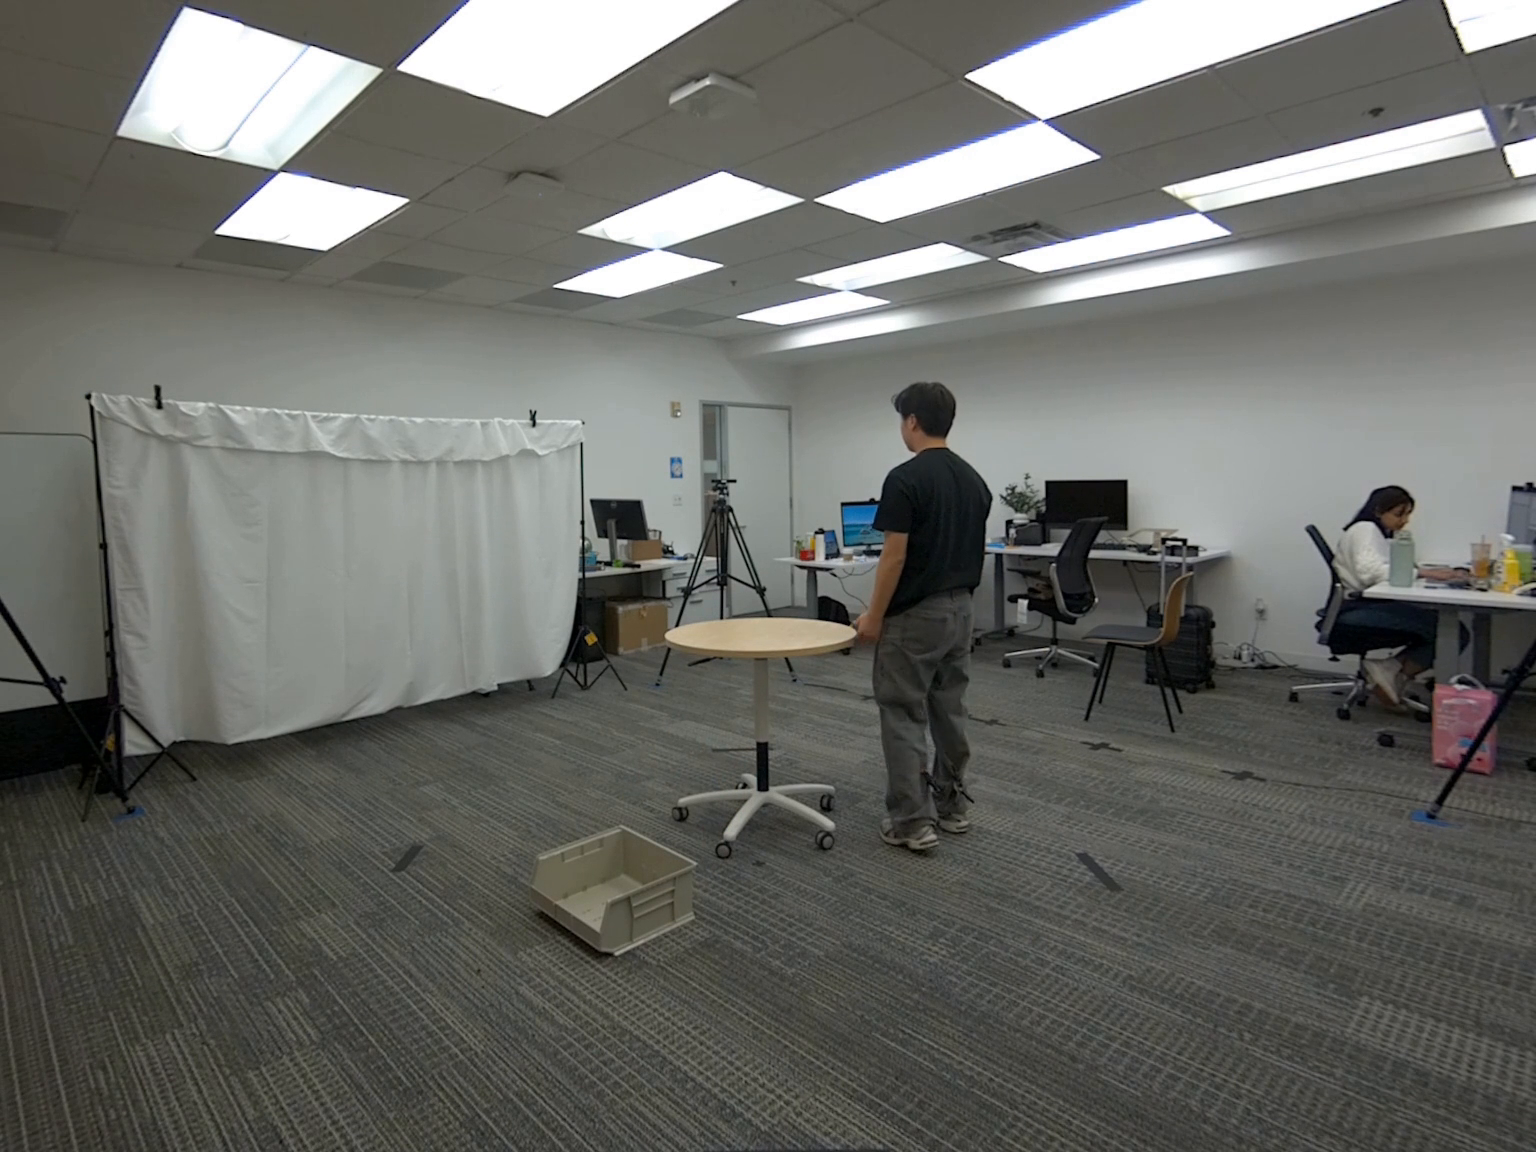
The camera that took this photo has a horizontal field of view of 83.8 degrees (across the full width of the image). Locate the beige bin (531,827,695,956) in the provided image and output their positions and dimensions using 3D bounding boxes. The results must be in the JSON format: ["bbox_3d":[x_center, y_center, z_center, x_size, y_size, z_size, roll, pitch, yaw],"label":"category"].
[{"bbox_3d":[-0.501,1.009,2.756,0.367,0.188,0.435,-6,8,-44],"label":"beige bin"}]
